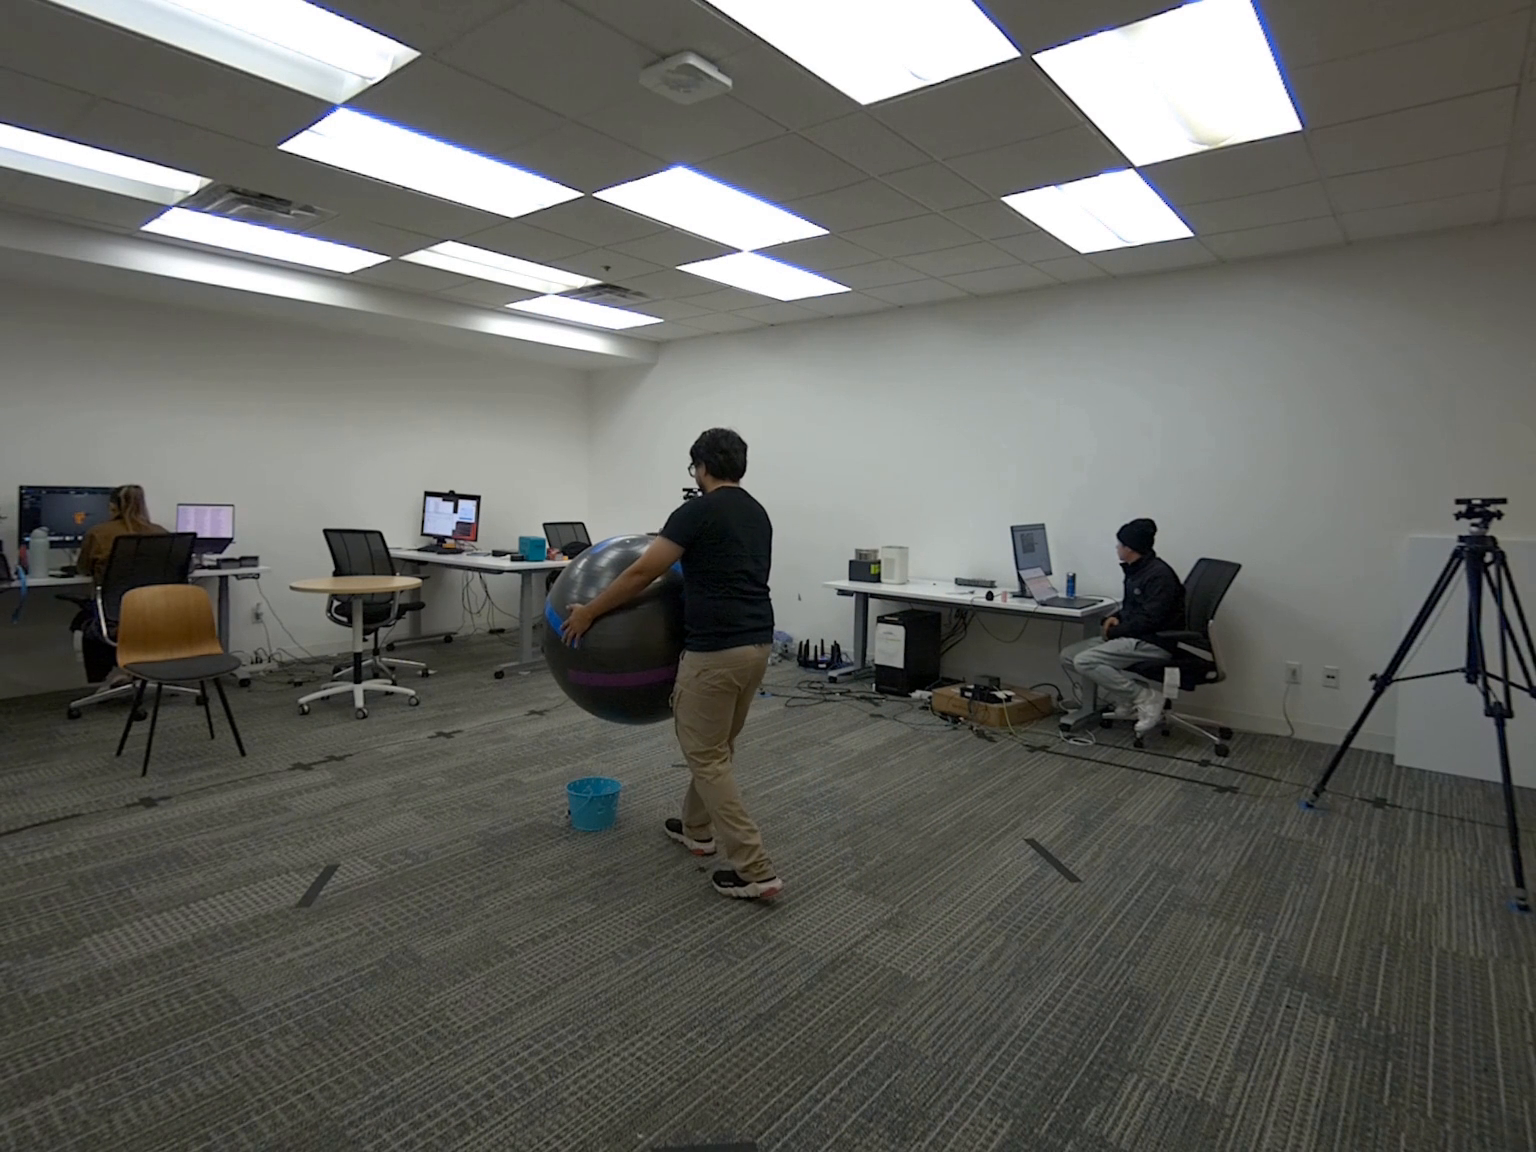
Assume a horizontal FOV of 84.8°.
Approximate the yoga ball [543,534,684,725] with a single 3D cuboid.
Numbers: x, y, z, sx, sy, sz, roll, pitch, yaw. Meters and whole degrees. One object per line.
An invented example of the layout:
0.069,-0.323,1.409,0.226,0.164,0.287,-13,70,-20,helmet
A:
-0.551,0.219,3.440,0.757,0.756,0.761,1,4,-2,yoga ball
